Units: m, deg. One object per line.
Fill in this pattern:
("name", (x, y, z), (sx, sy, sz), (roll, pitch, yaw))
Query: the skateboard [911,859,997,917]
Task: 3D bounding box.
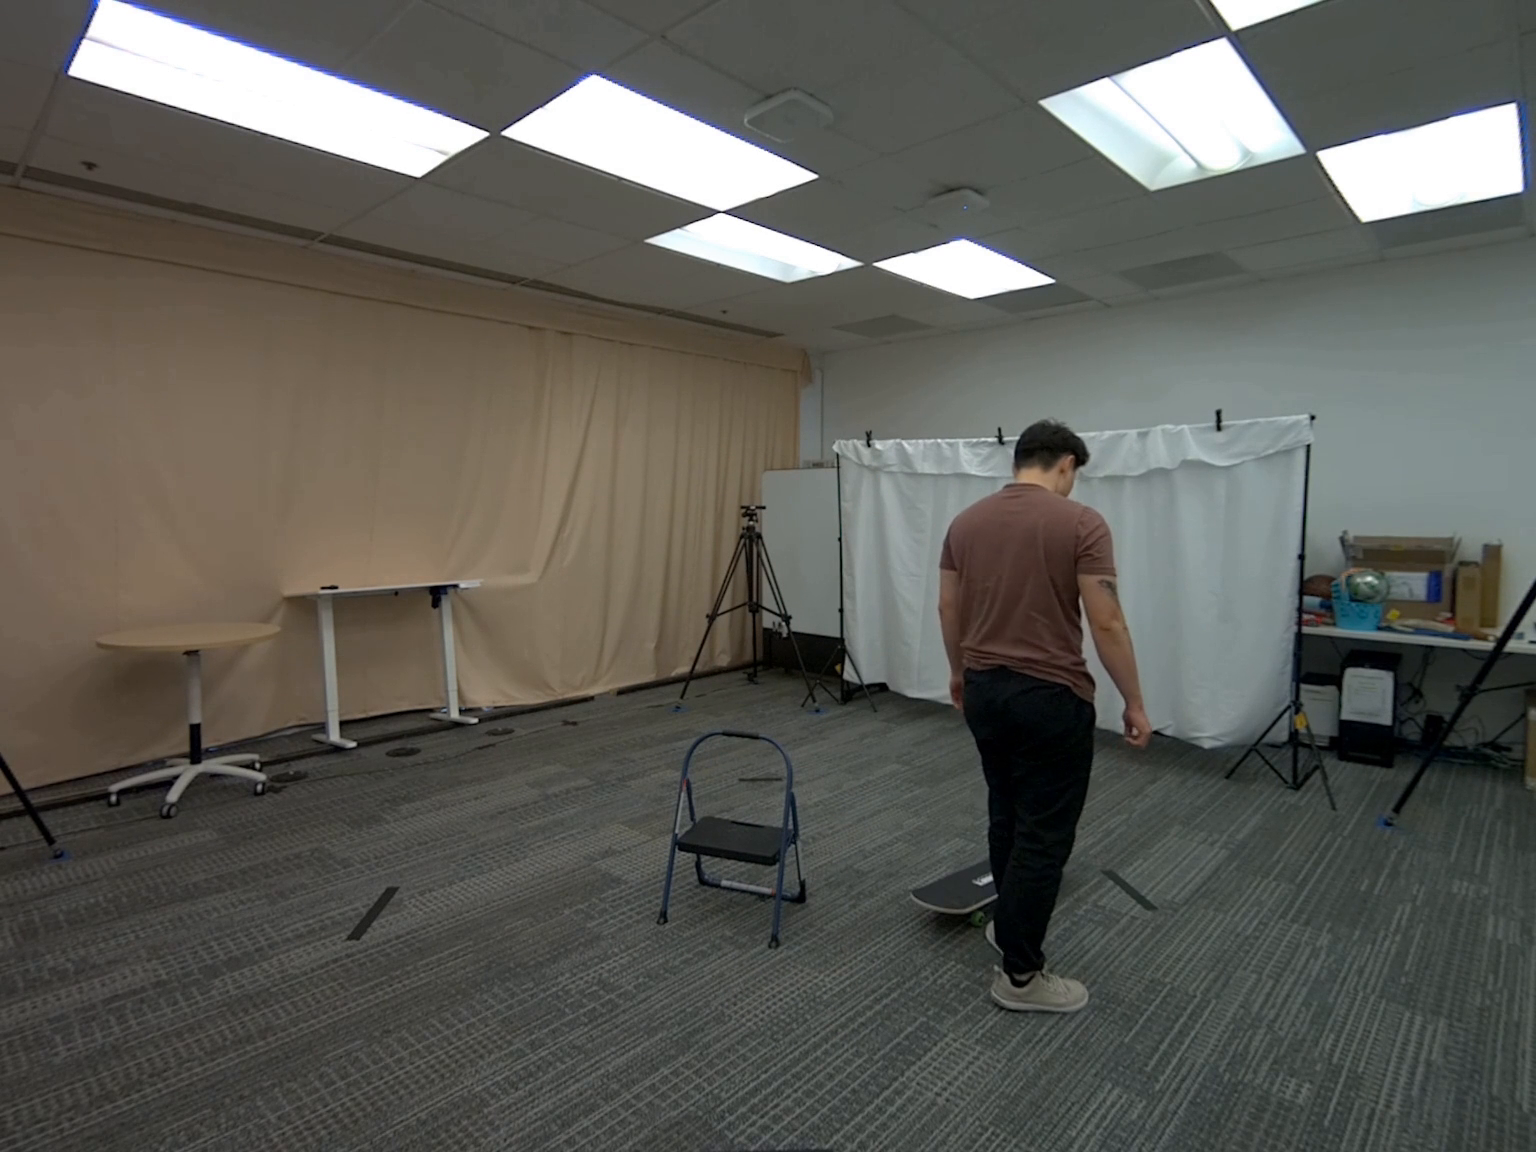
("skateboard", (0.797, 1.093, 2.952), (0.762, 0.110, 0.200), (-3, 5, -38))
